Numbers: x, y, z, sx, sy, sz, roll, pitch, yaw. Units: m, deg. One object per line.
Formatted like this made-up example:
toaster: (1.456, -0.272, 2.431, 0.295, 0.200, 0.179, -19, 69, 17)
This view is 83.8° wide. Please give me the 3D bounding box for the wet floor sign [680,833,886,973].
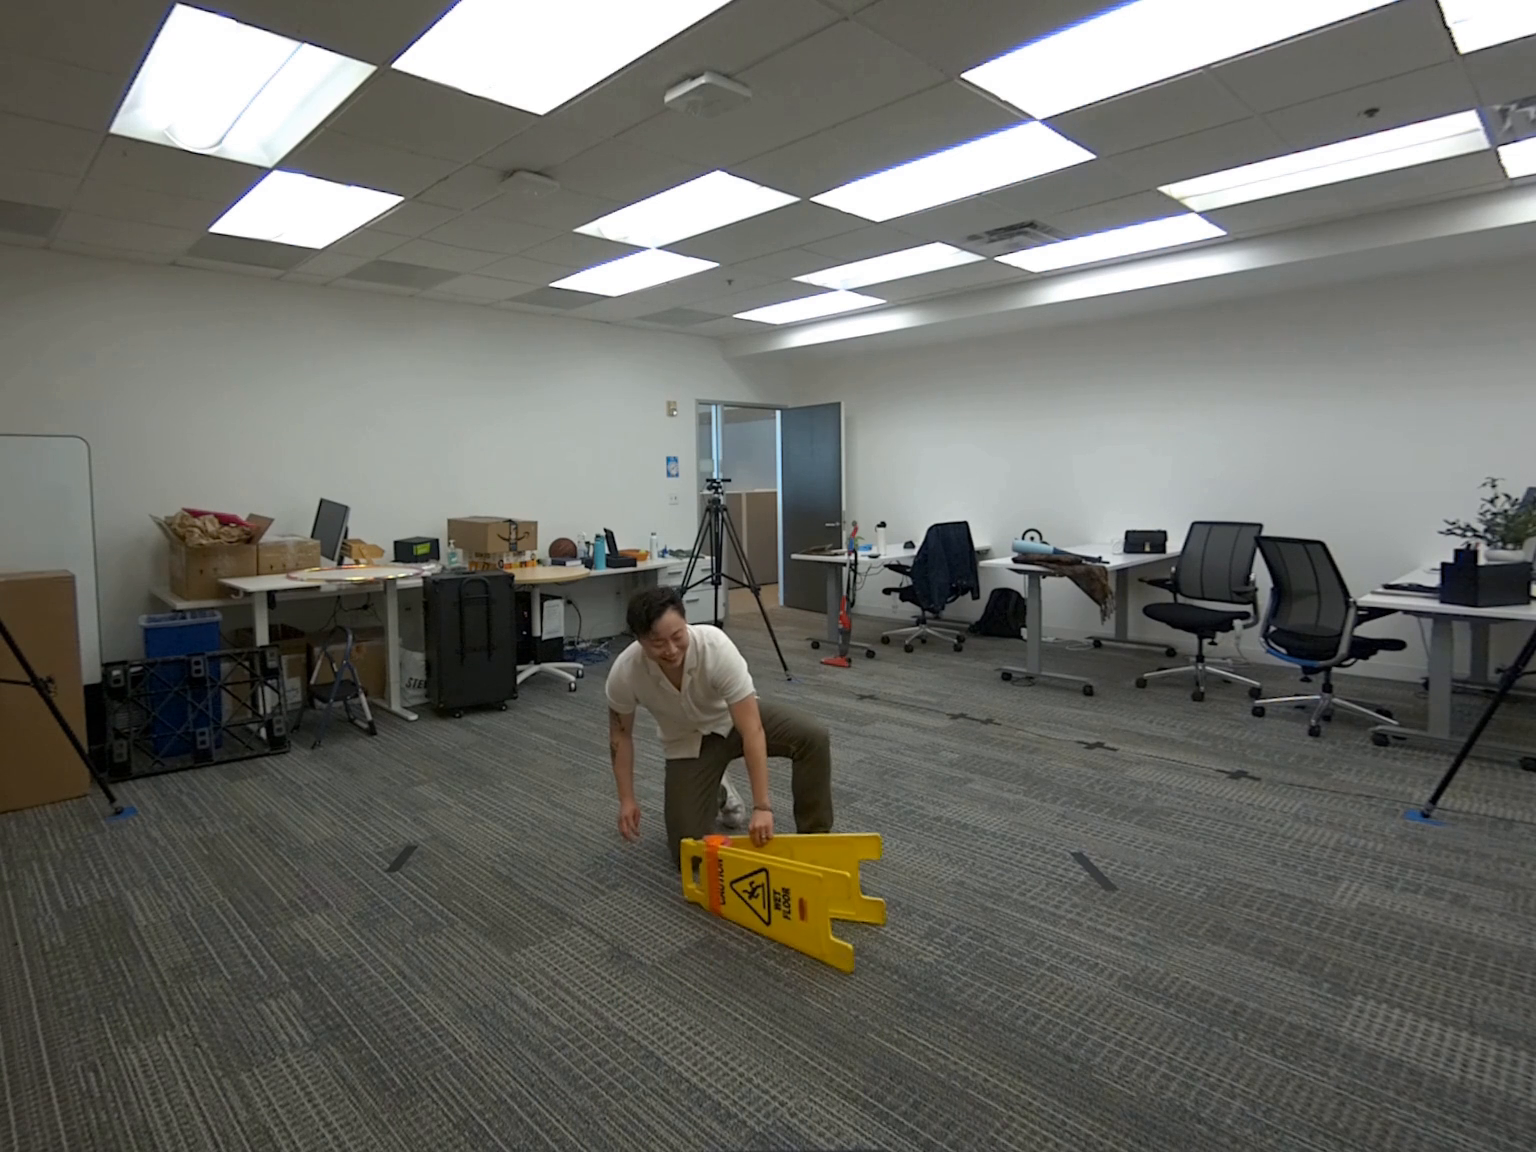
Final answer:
wet floor sign: (0.008, 0.970, 2.682, 0.661, 0.281, 0.284, -2, 4, 26)
